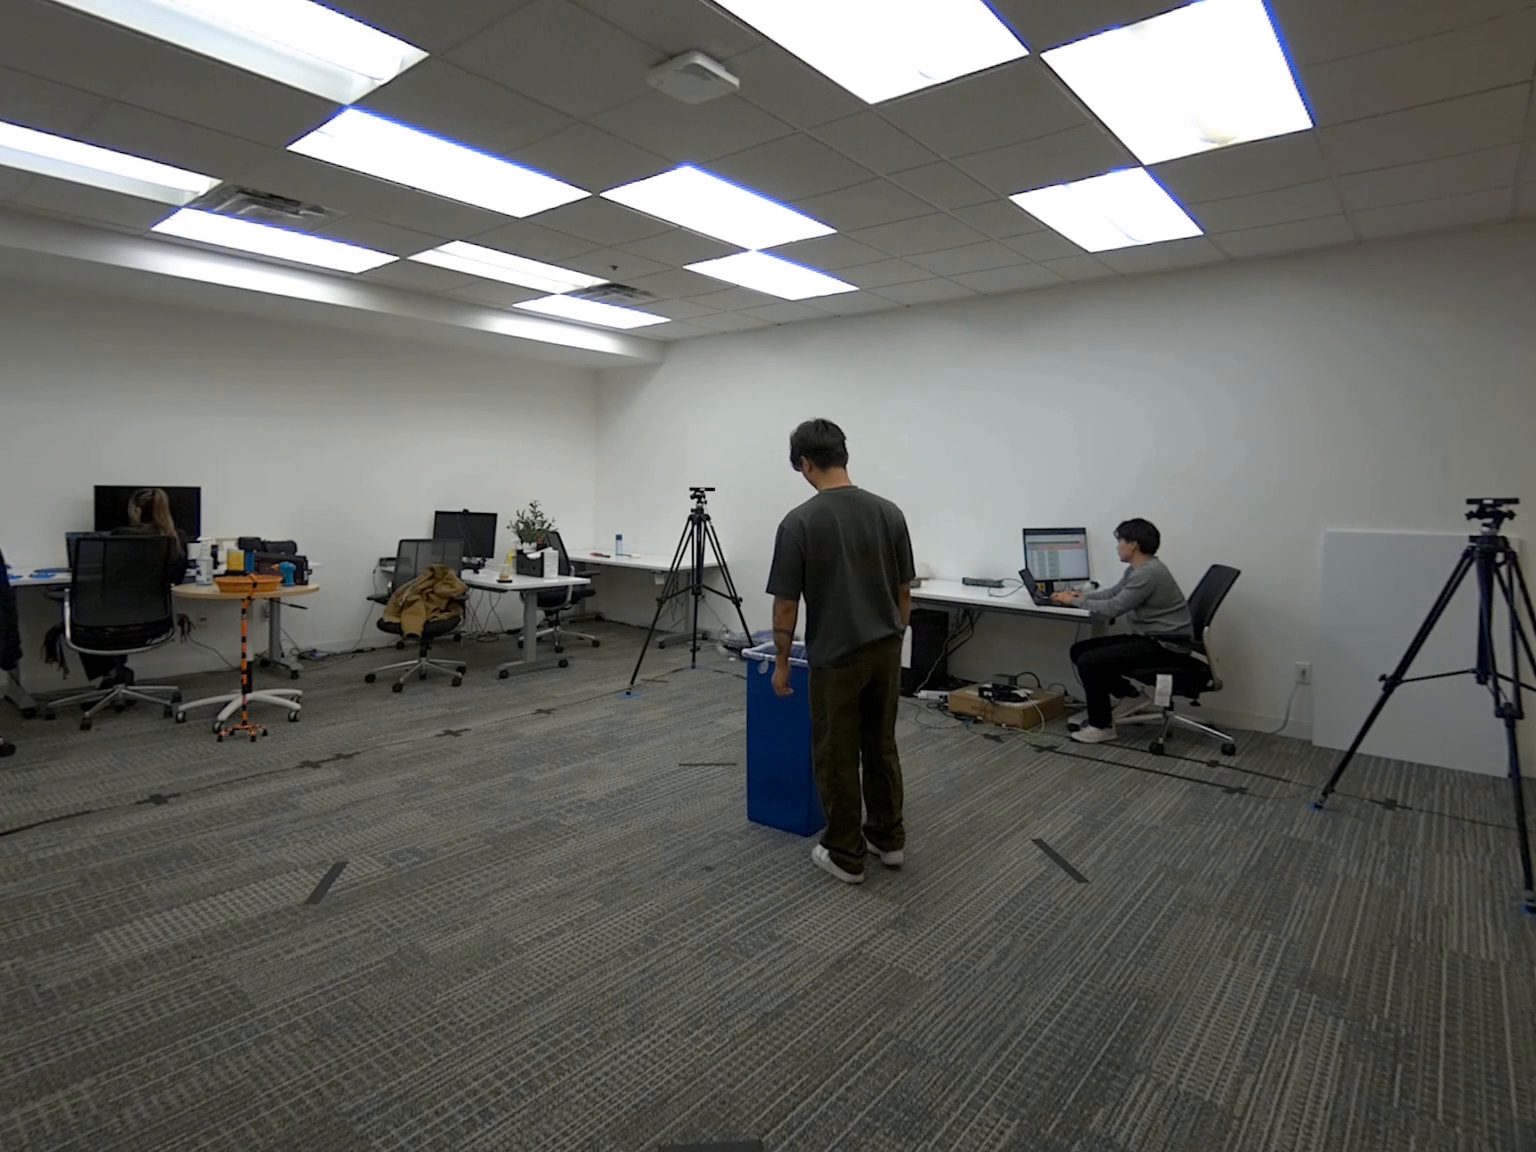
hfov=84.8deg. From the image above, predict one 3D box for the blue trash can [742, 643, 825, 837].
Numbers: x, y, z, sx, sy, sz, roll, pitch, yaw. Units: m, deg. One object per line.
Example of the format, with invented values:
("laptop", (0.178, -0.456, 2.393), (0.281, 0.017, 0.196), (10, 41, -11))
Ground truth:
("blue trash can", (0.107, 0.669, 3.600), (0.386, 0.712, 0.367), (4, 4, 33))
